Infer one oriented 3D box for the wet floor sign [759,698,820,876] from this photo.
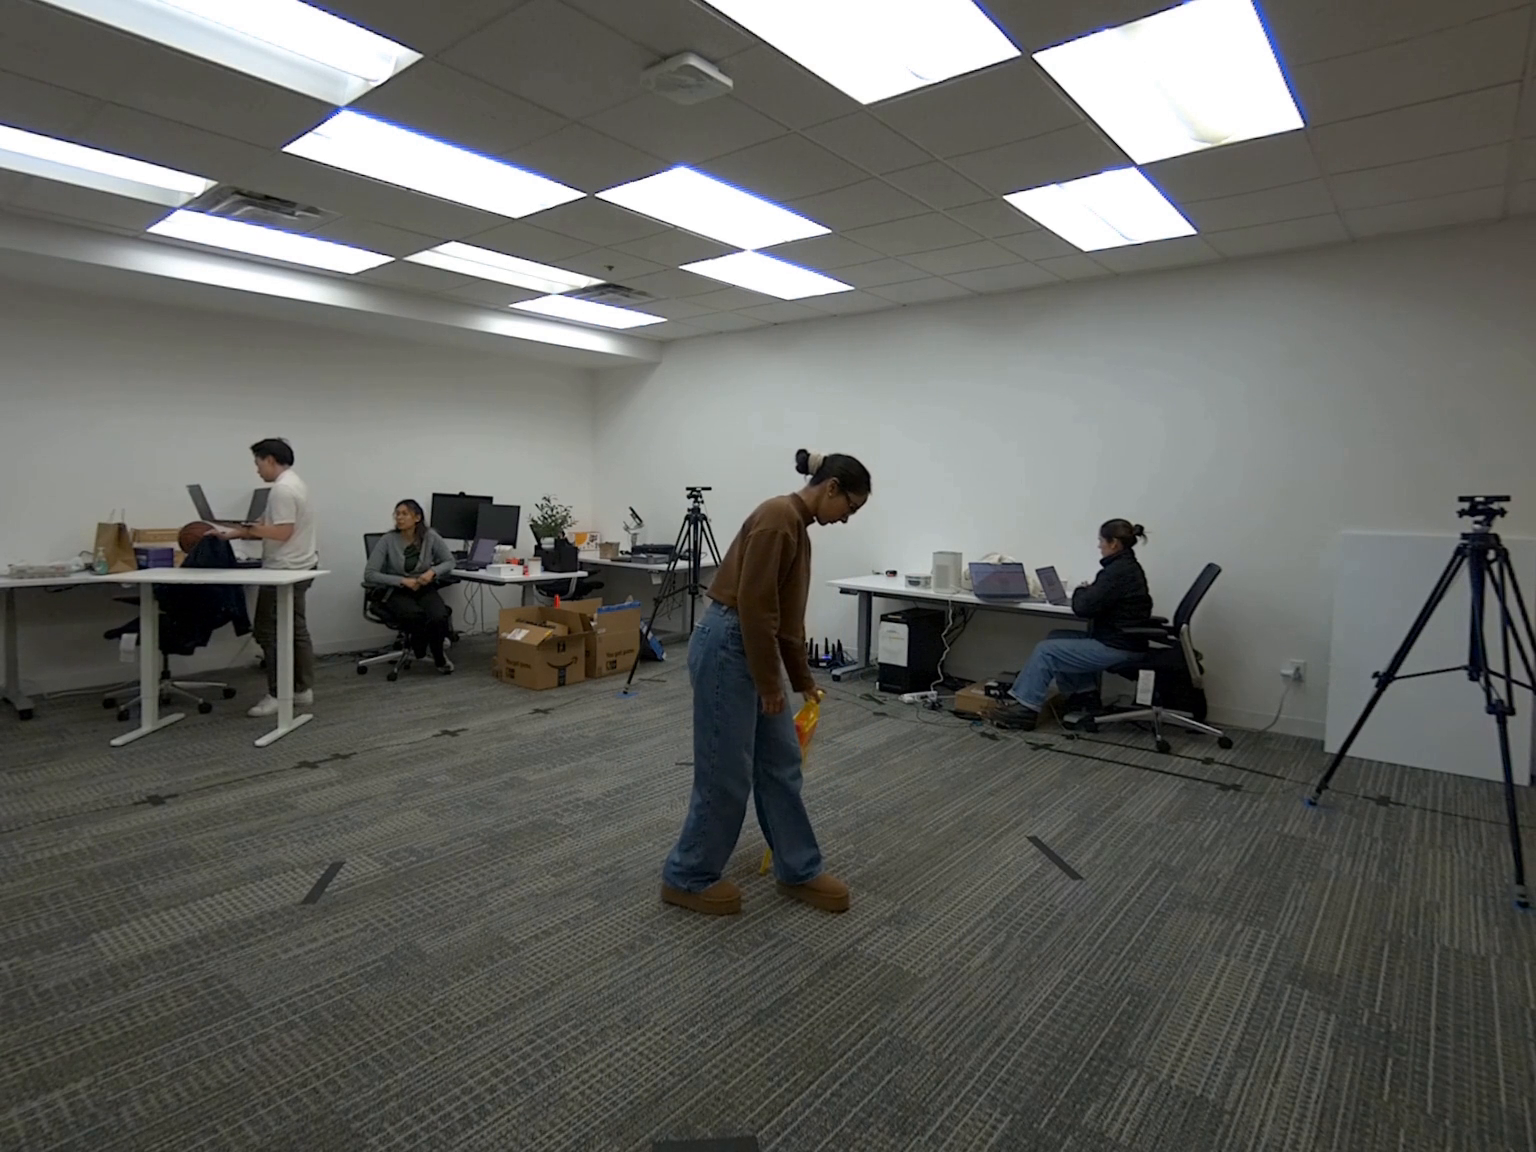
[{"bbox_3d":[0.037,0.717,3.168,0.295,0.643,0.278,28,11,13],"label":"wet floor sign"}]
